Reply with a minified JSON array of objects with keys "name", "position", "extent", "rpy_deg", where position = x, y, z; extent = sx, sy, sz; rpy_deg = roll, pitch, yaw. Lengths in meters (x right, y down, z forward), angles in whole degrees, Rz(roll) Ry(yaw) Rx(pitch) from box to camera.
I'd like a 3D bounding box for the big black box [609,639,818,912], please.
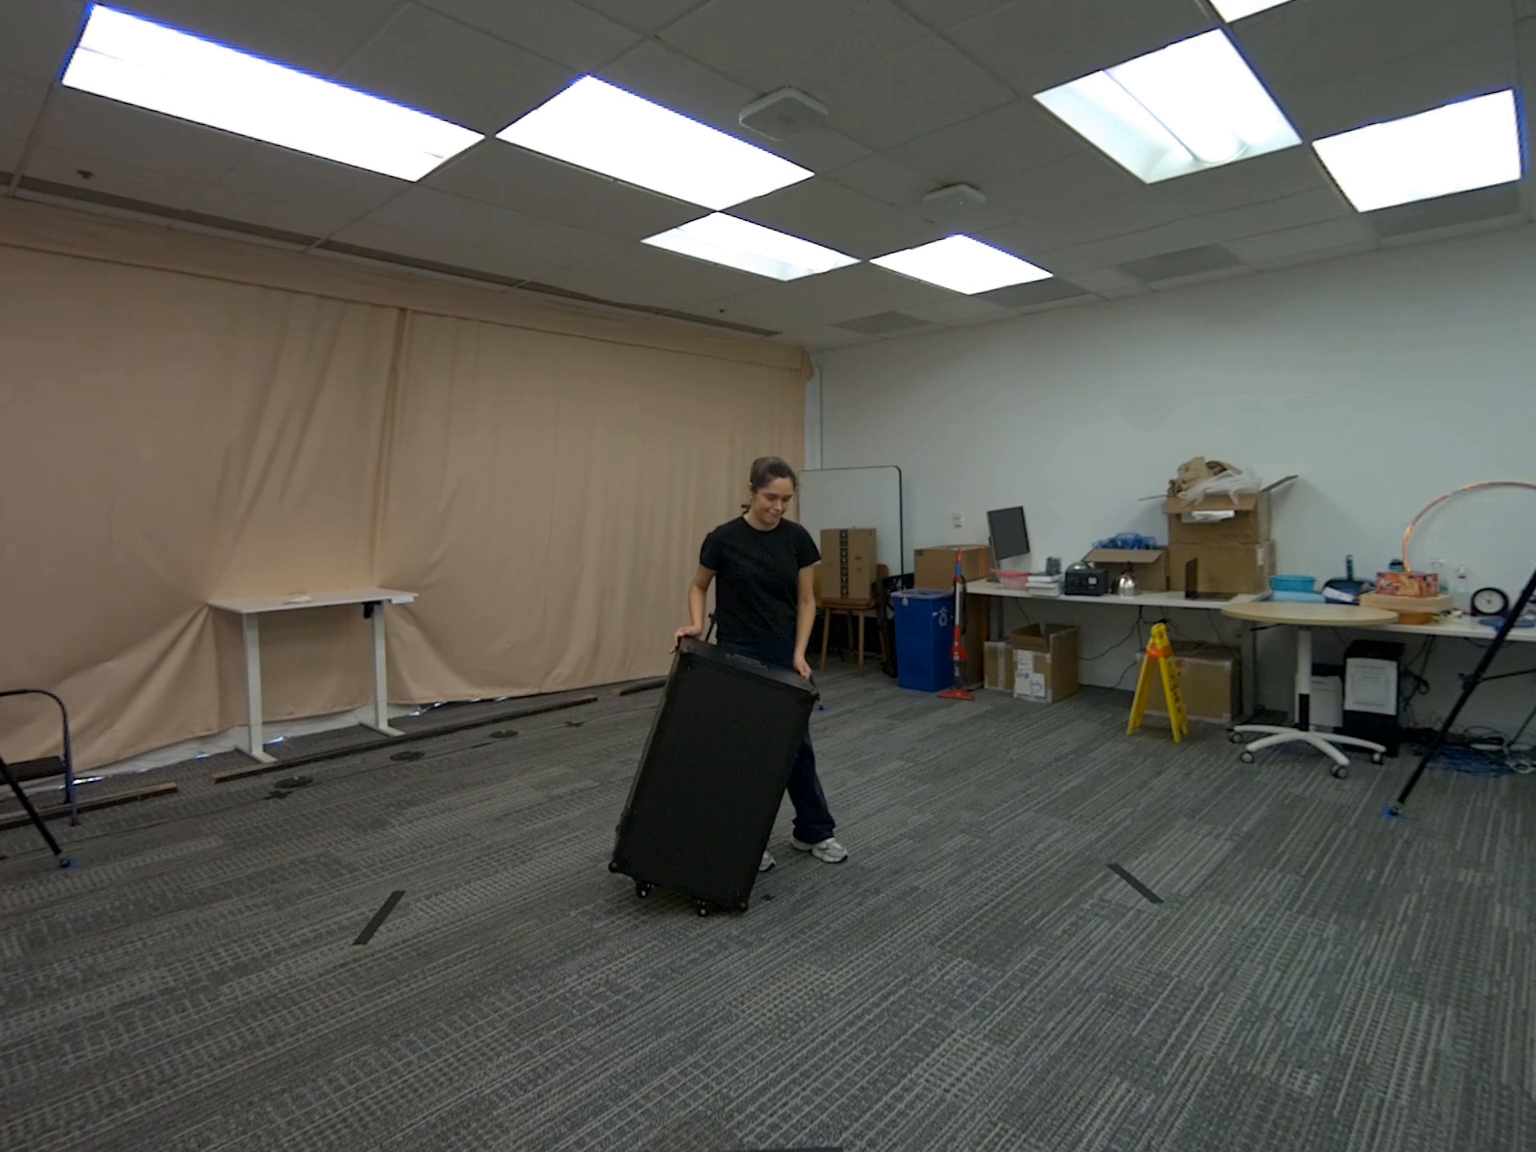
[{"name":"big black box","position":[-0.205,0.702,2.990],"extent":[0.518,0.861,0.399],"rpy_deg":[19,1,-6]}]
